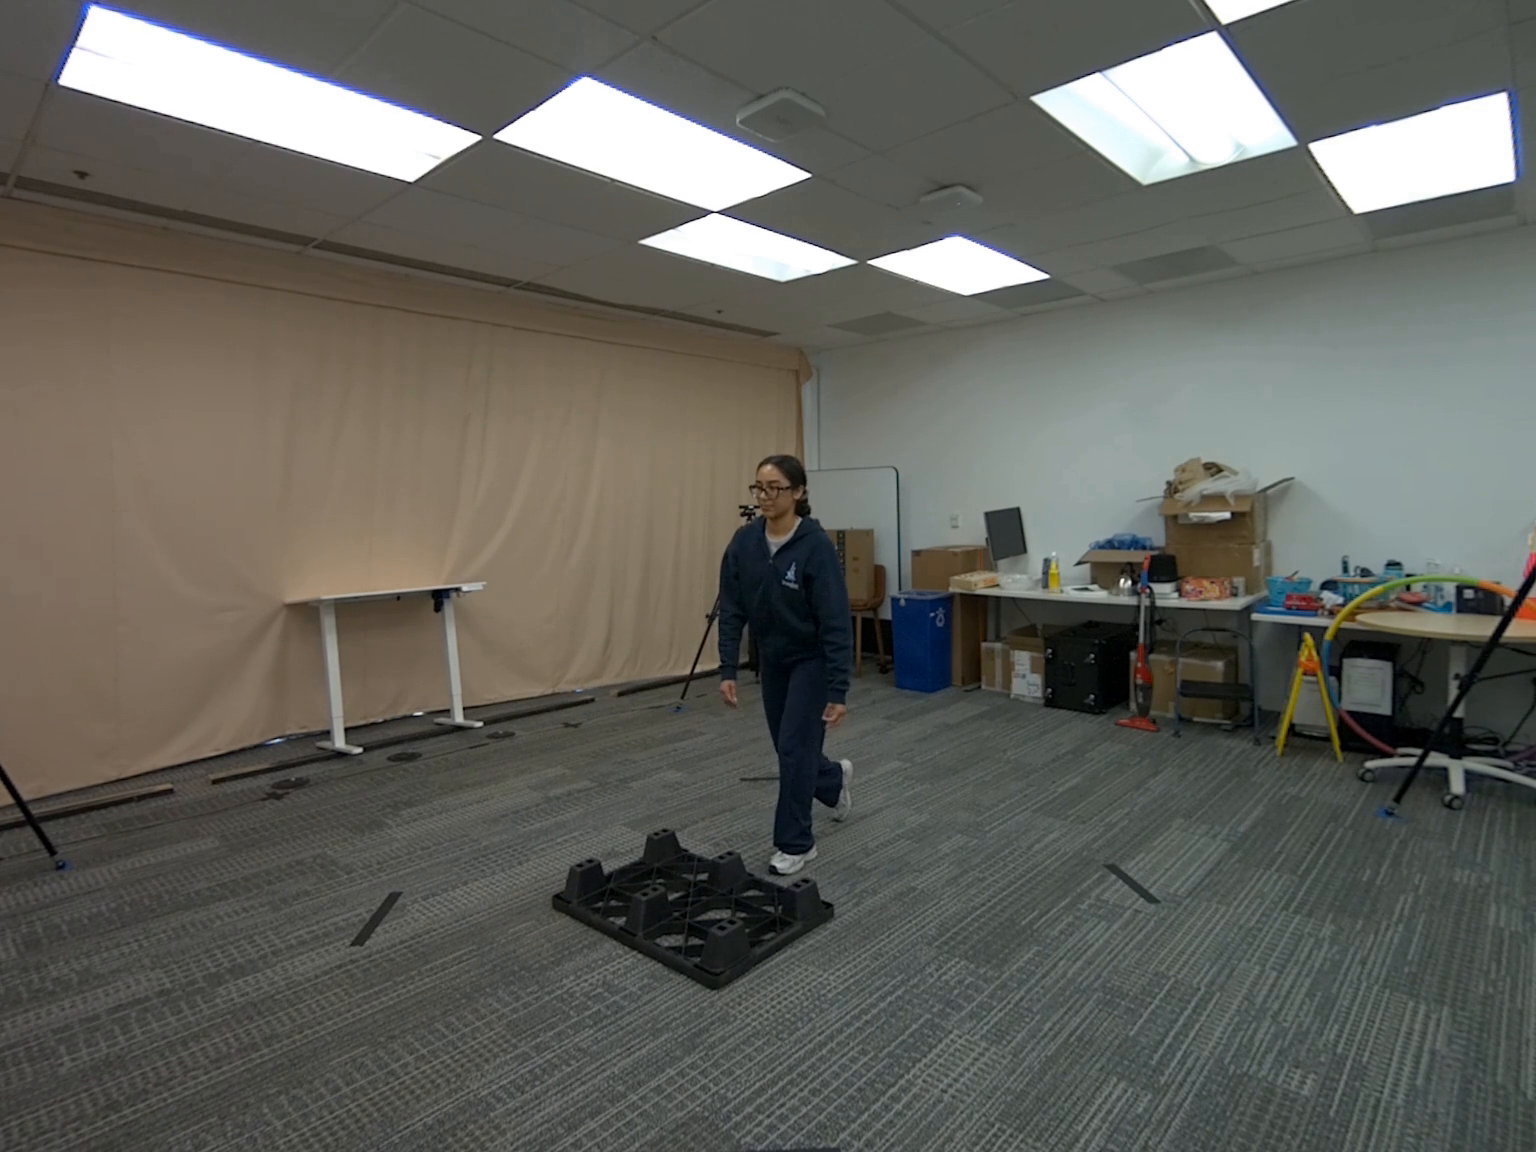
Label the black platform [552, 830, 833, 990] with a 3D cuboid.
[{"bbox_3d":[-0.272,1.090,2.892,0.832,0.143,0.587,3,5,41],"label":"black platform"}]
